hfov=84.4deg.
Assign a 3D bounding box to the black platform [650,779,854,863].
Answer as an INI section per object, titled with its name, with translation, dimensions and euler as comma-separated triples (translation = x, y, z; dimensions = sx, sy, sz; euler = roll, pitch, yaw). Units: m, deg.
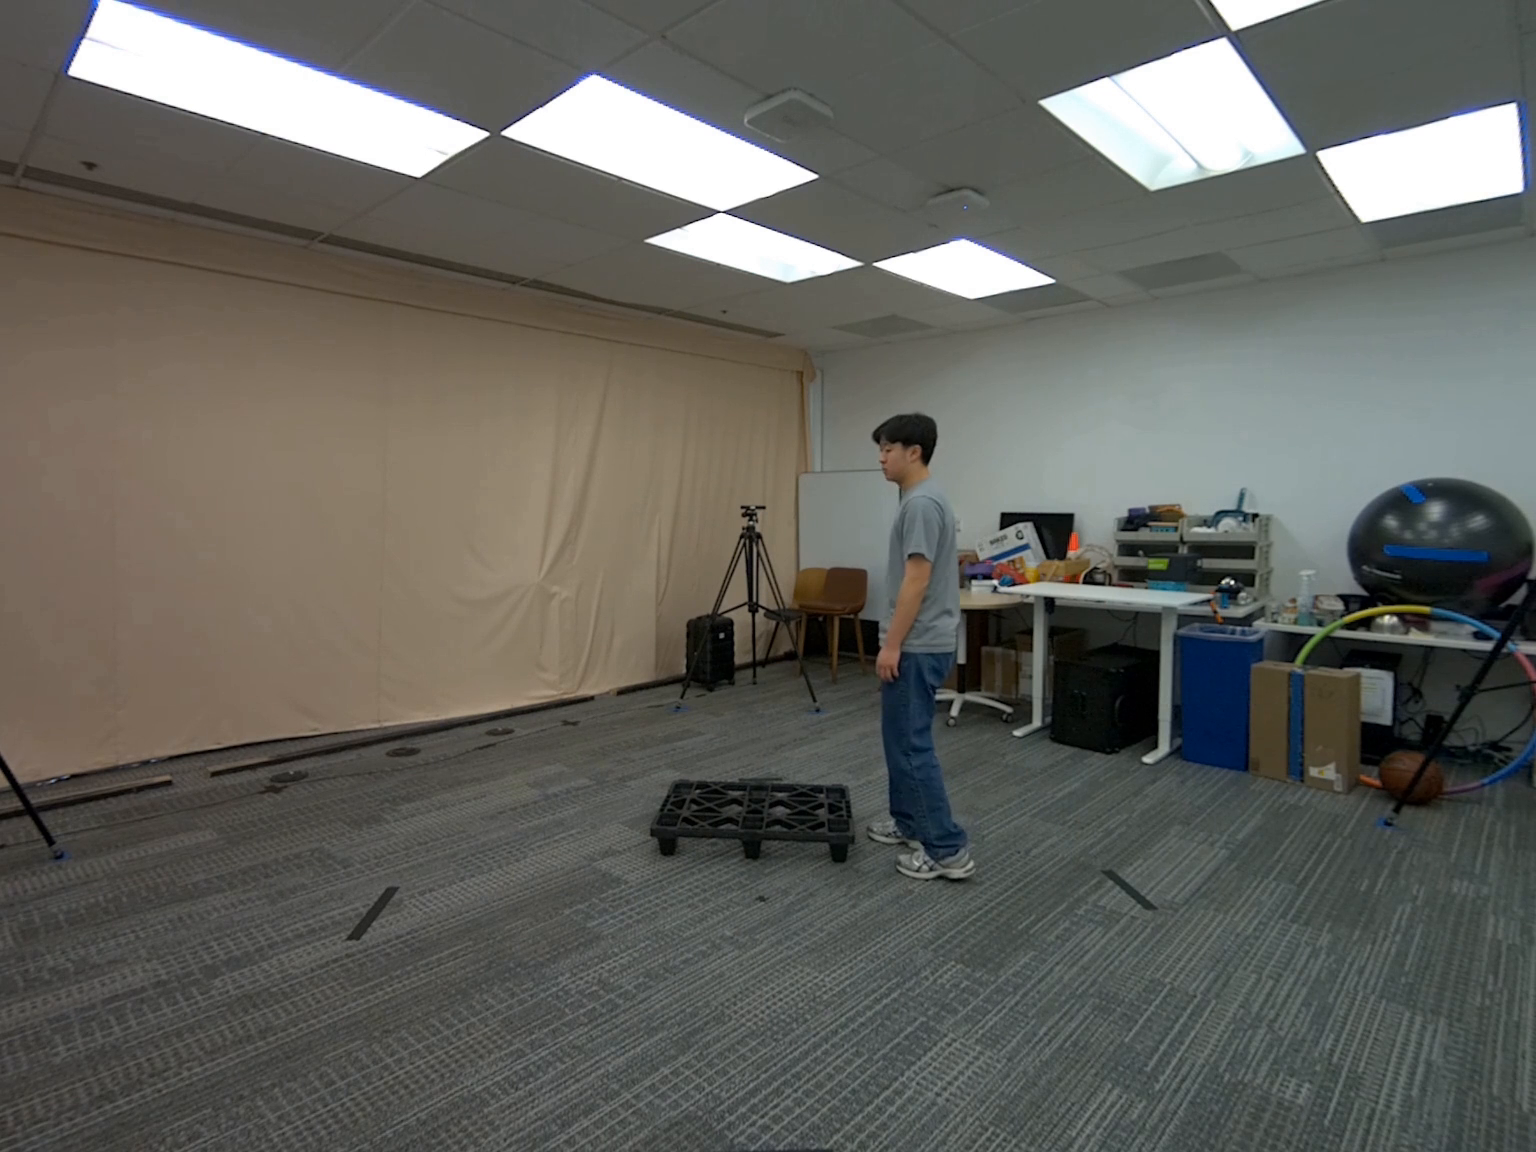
[black platform]
translation = -0.047, 1.029, 3.543
dimensions = 0.811, 0.143, 0.603
euler = 0, 5, 5
